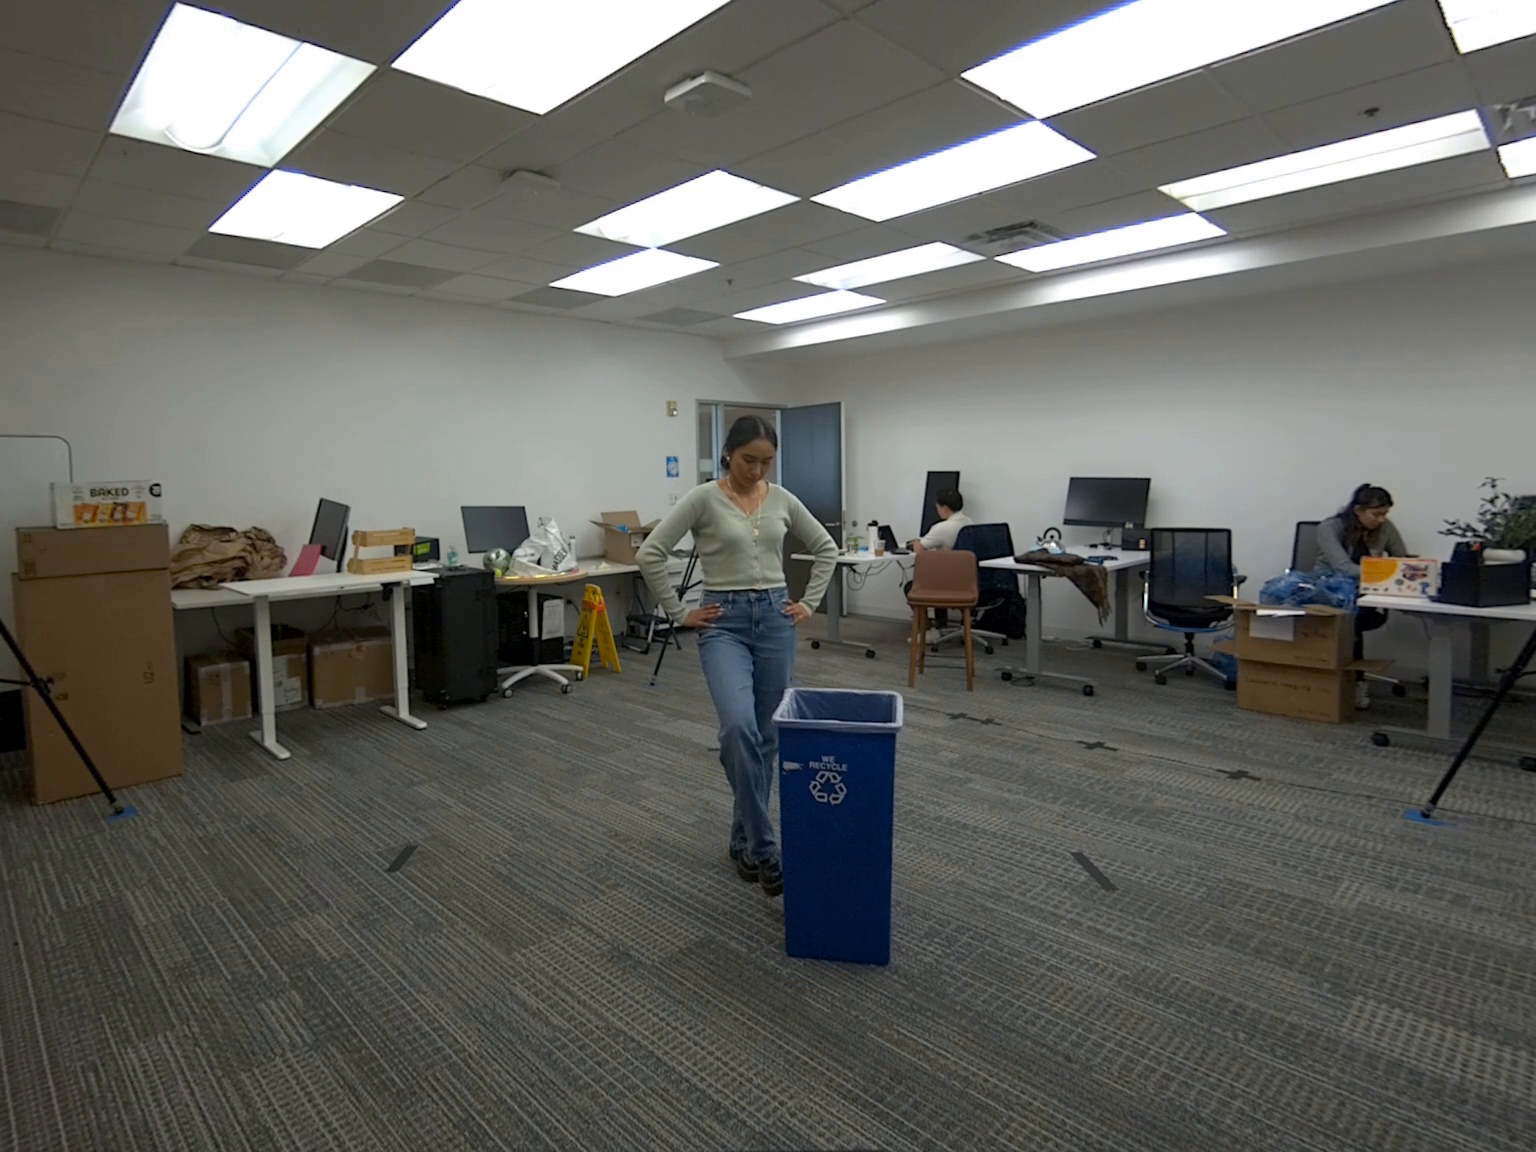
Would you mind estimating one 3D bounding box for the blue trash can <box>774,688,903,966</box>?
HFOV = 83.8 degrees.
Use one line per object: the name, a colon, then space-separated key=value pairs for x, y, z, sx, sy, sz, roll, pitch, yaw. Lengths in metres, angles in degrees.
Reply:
blue trash can: x=0.227 y=0.743 z=2.578 sx=0.382 sy=0.711 sz=0.371 roll=0 pitch=4 yaw=10
